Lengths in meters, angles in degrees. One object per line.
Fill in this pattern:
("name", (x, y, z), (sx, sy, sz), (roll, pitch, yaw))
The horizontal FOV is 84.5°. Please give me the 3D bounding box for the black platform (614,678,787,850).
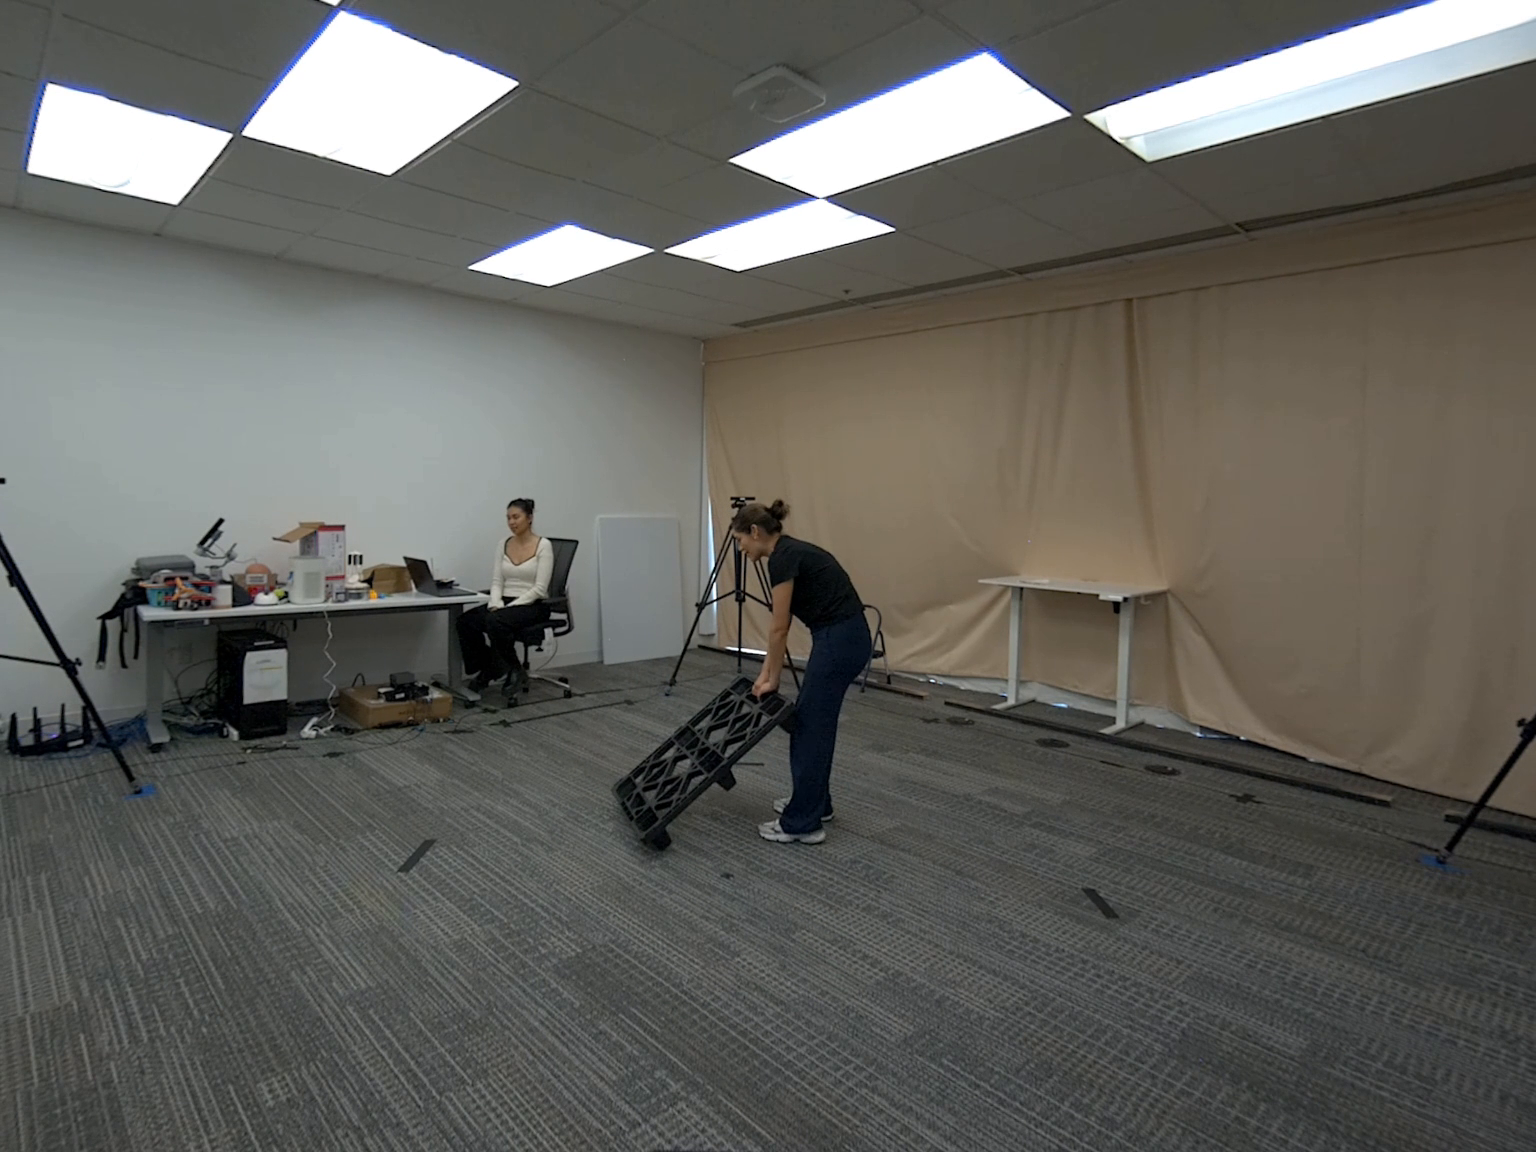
("black platform", (-0.269, 0.775, 3.574), (0.804, 0.141, 0.617), (-41, 19, -13))
